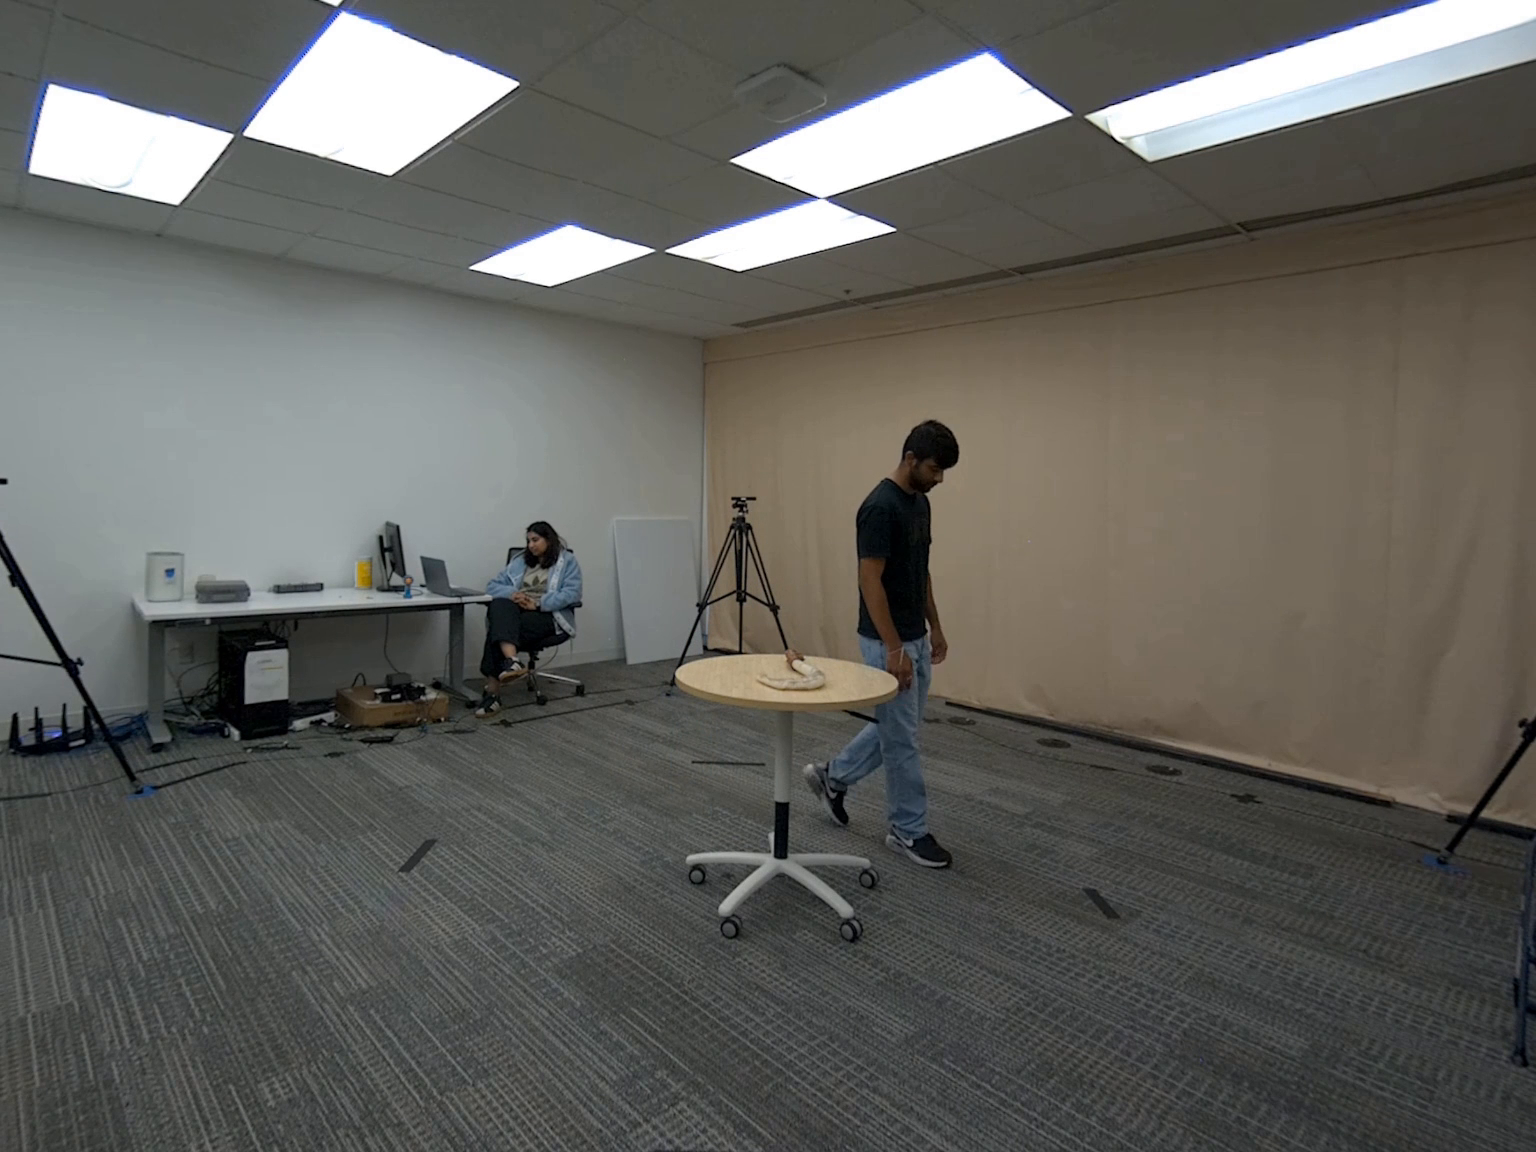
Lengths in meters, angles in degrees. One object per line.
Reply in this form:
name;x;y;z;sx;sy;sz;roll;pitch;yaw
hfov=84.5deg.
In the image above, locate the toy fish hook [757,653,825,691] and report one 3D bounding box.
toy fish hook;0.054;0.324;2.929;0.224;0.048;0.510;3;6;-6
